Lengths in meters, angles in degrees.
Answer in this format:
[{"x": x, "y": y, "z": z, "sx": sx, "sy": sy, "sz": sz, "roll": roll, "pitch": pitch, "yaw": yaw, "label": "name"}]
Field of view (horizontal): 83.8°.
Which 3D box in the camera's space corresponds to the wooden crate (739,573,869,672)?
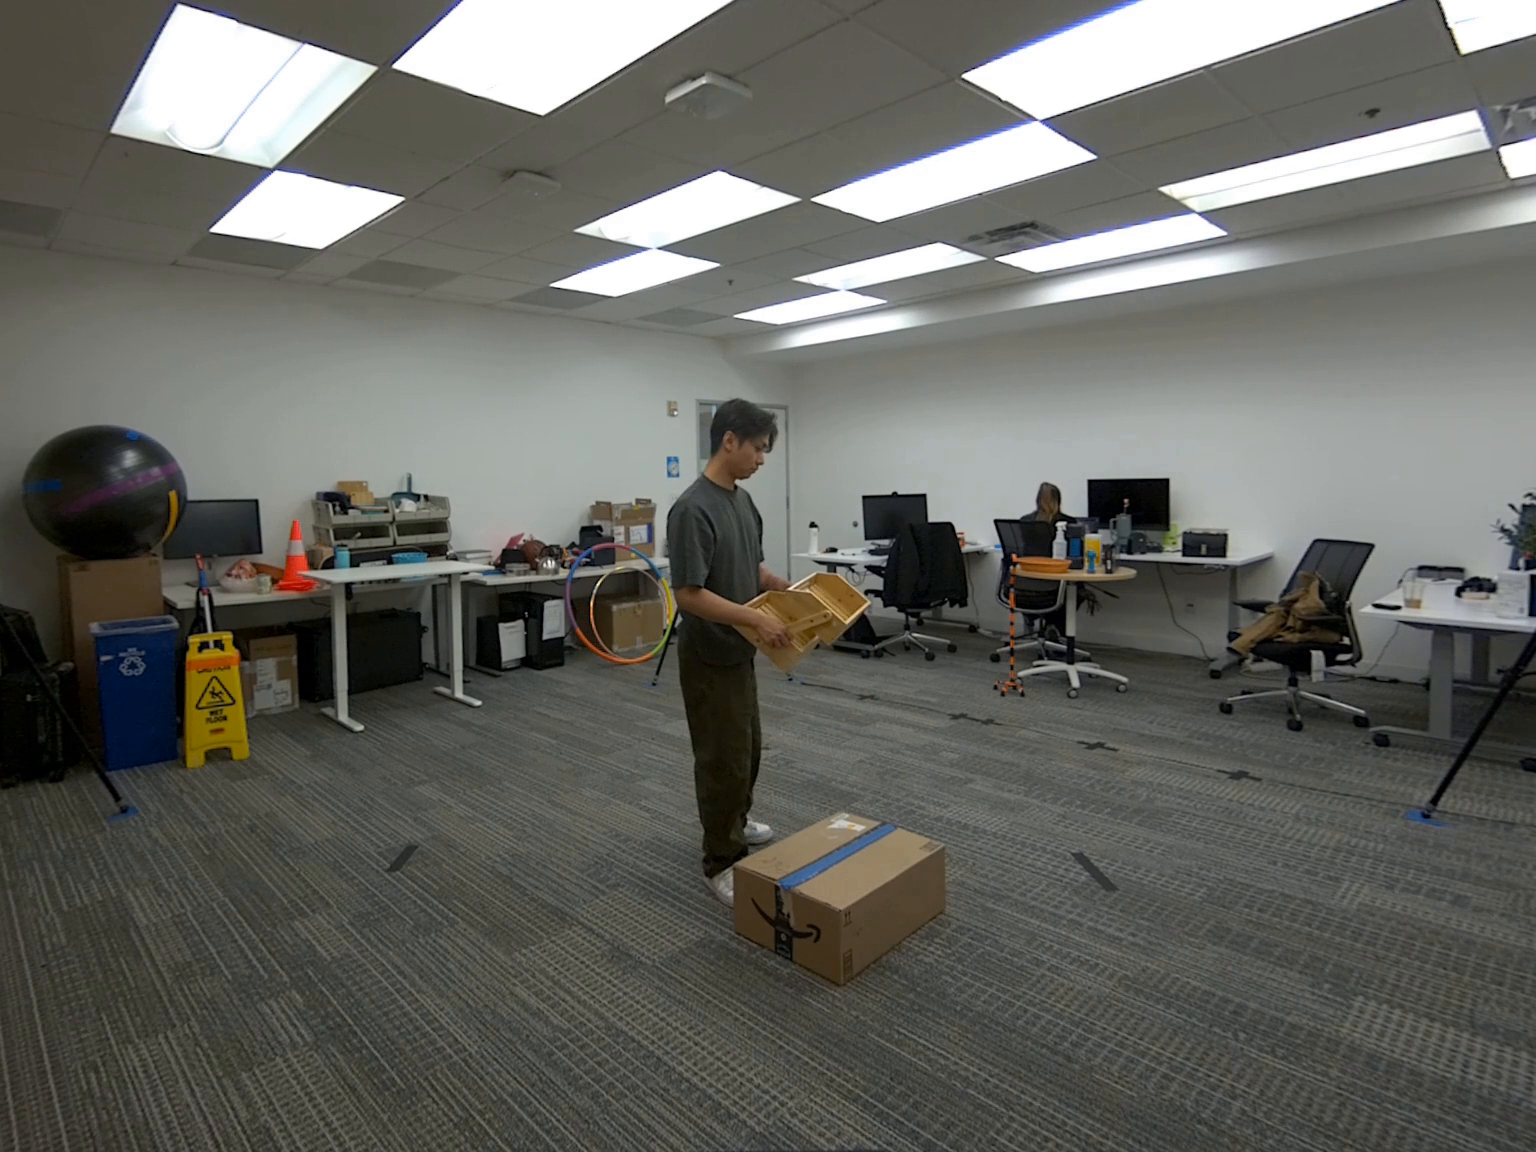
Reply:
[{"x": 0.108, "y": 0.108, "z": 2.786, "sx": 0.307, "sy": 0.272, "sz": 0.320, "roll": 42, "pitch": 23, "yaw": 12, "label": "wooden crate"}]
